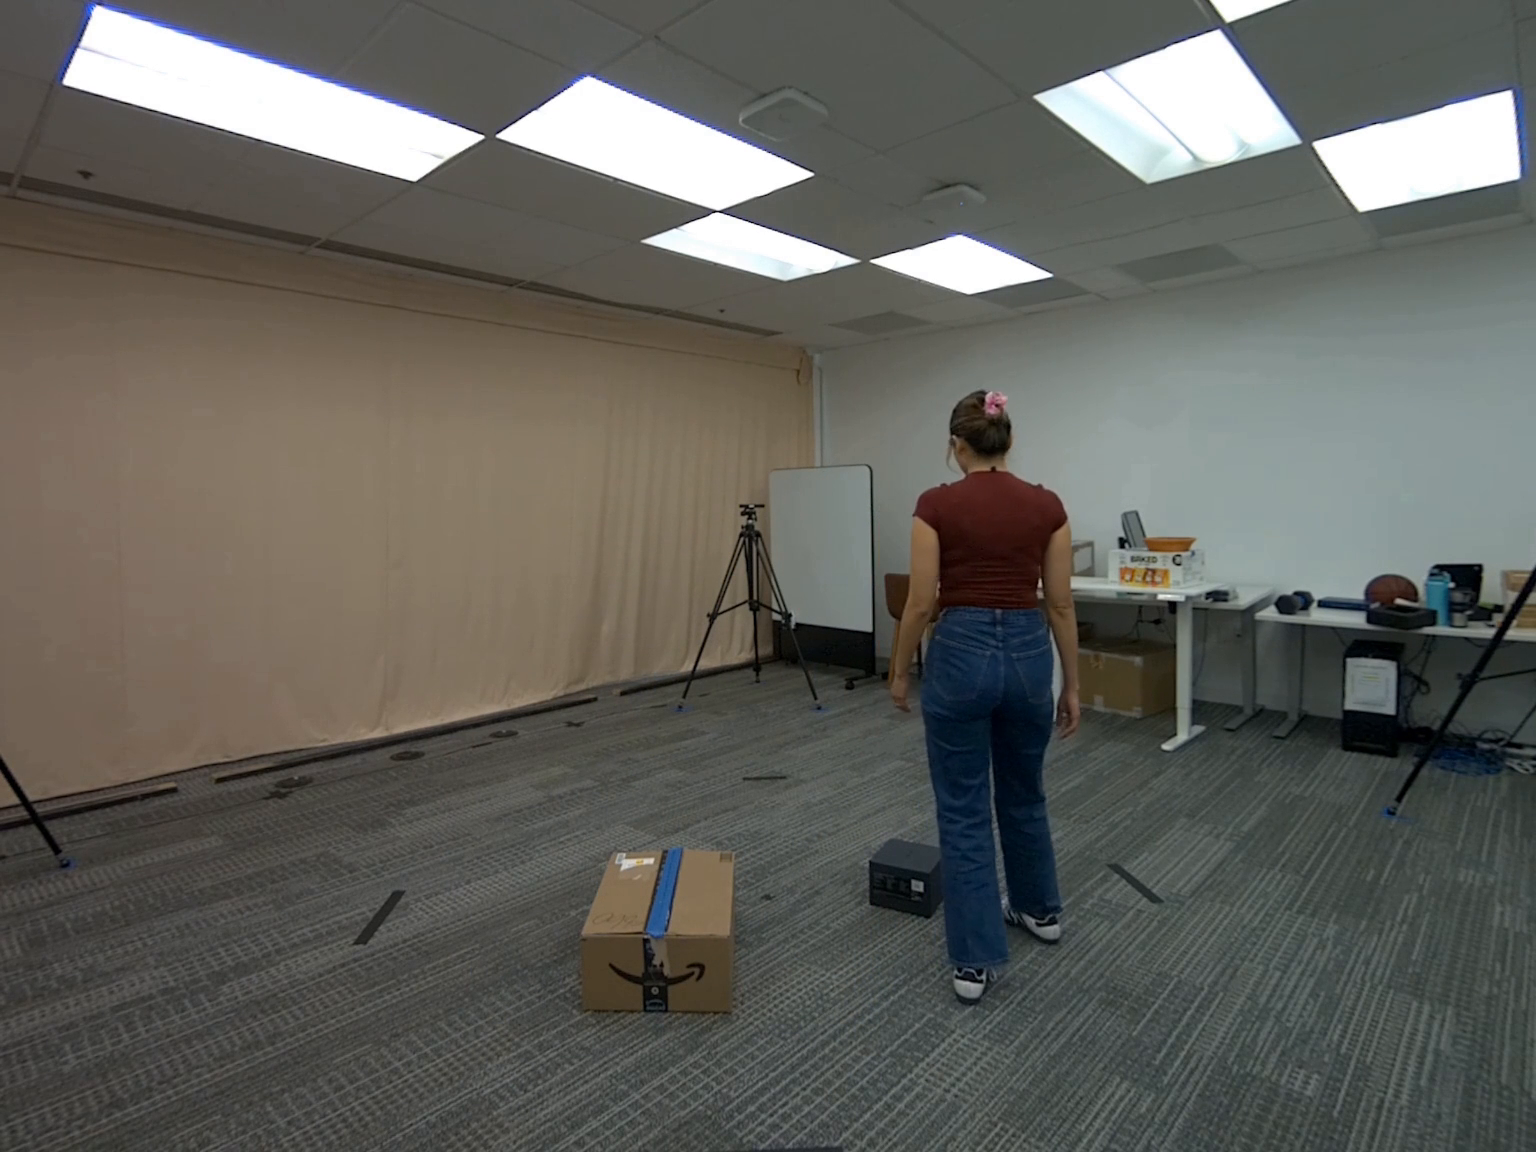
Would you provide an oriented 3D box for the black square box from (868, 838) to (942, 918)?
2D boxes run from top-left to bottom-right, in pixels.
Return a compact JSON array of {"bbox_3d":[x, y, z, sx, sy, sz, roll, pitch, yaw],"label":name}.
[{"bbox_3d":[0.498,1.047,2.950,0.223,0.155,0.222,1,5,28],"label":"black square box"}]
